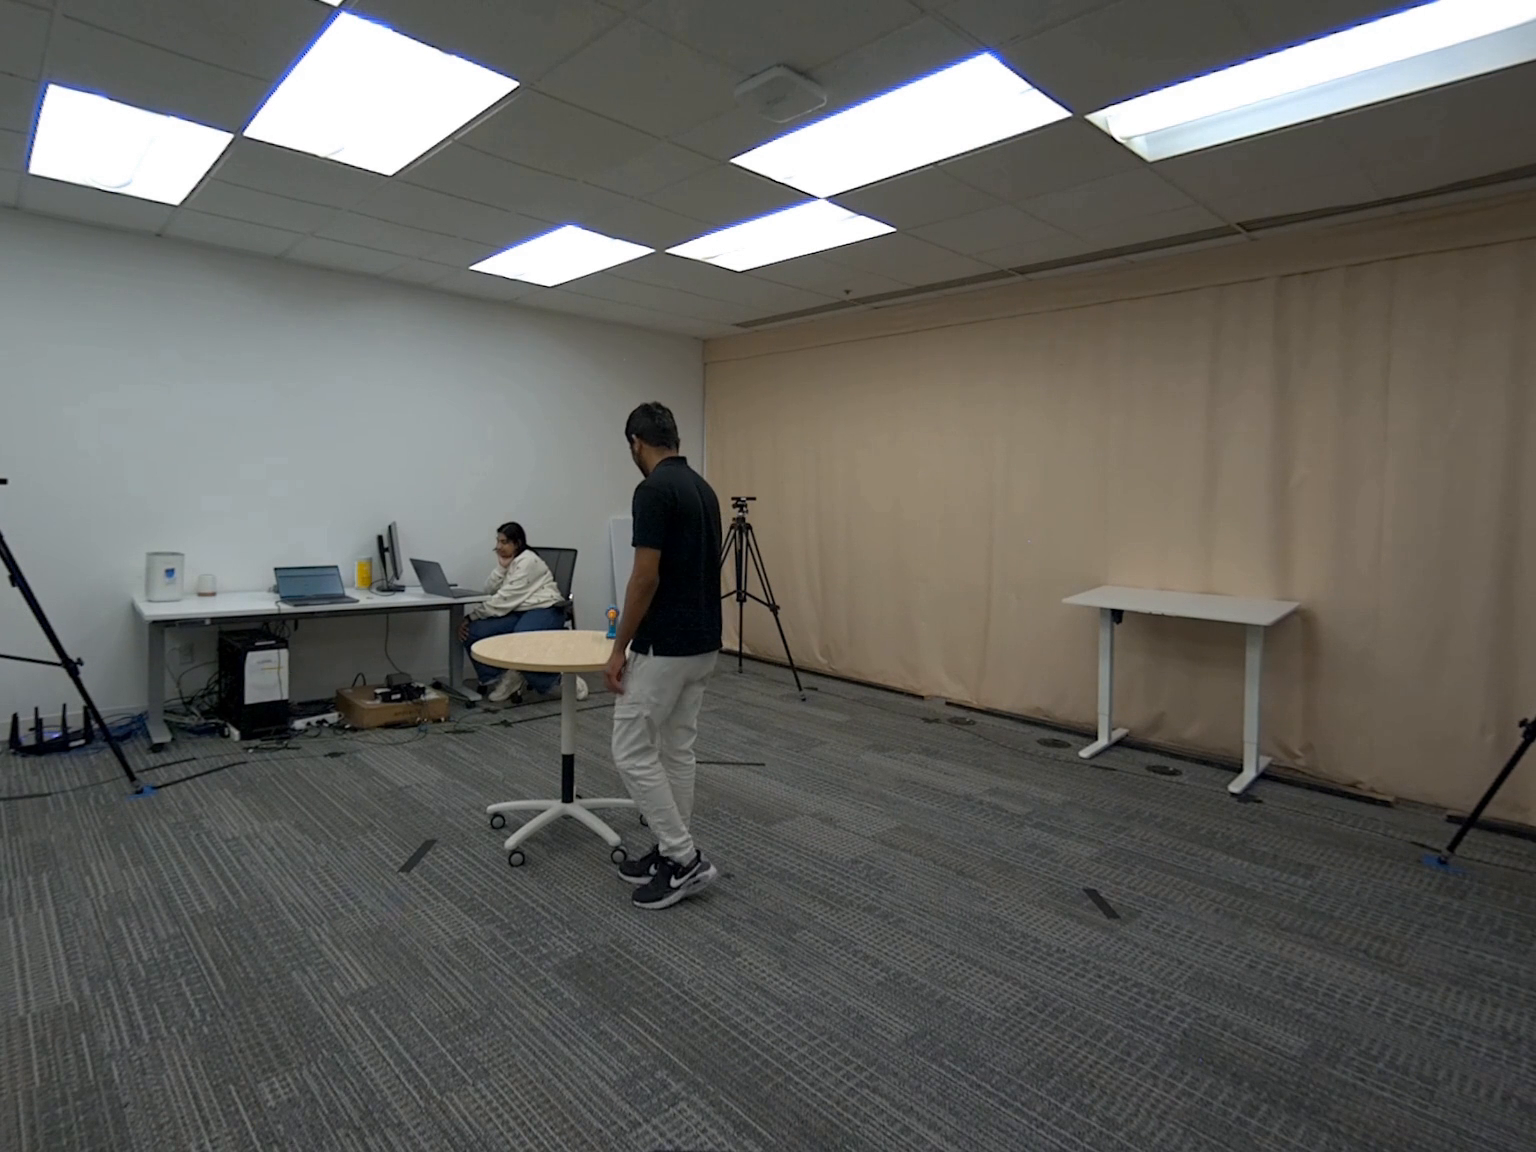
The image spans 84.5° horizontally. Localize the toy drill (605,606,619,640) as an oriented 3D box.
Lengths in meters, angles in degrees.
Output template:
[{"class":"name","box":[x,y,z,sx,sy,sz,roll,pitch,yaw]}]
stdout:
[{"class":"toy drill","box":[-0.672,0.197,3.570,0.061,0.146,0.171,2,4,-7]}]
